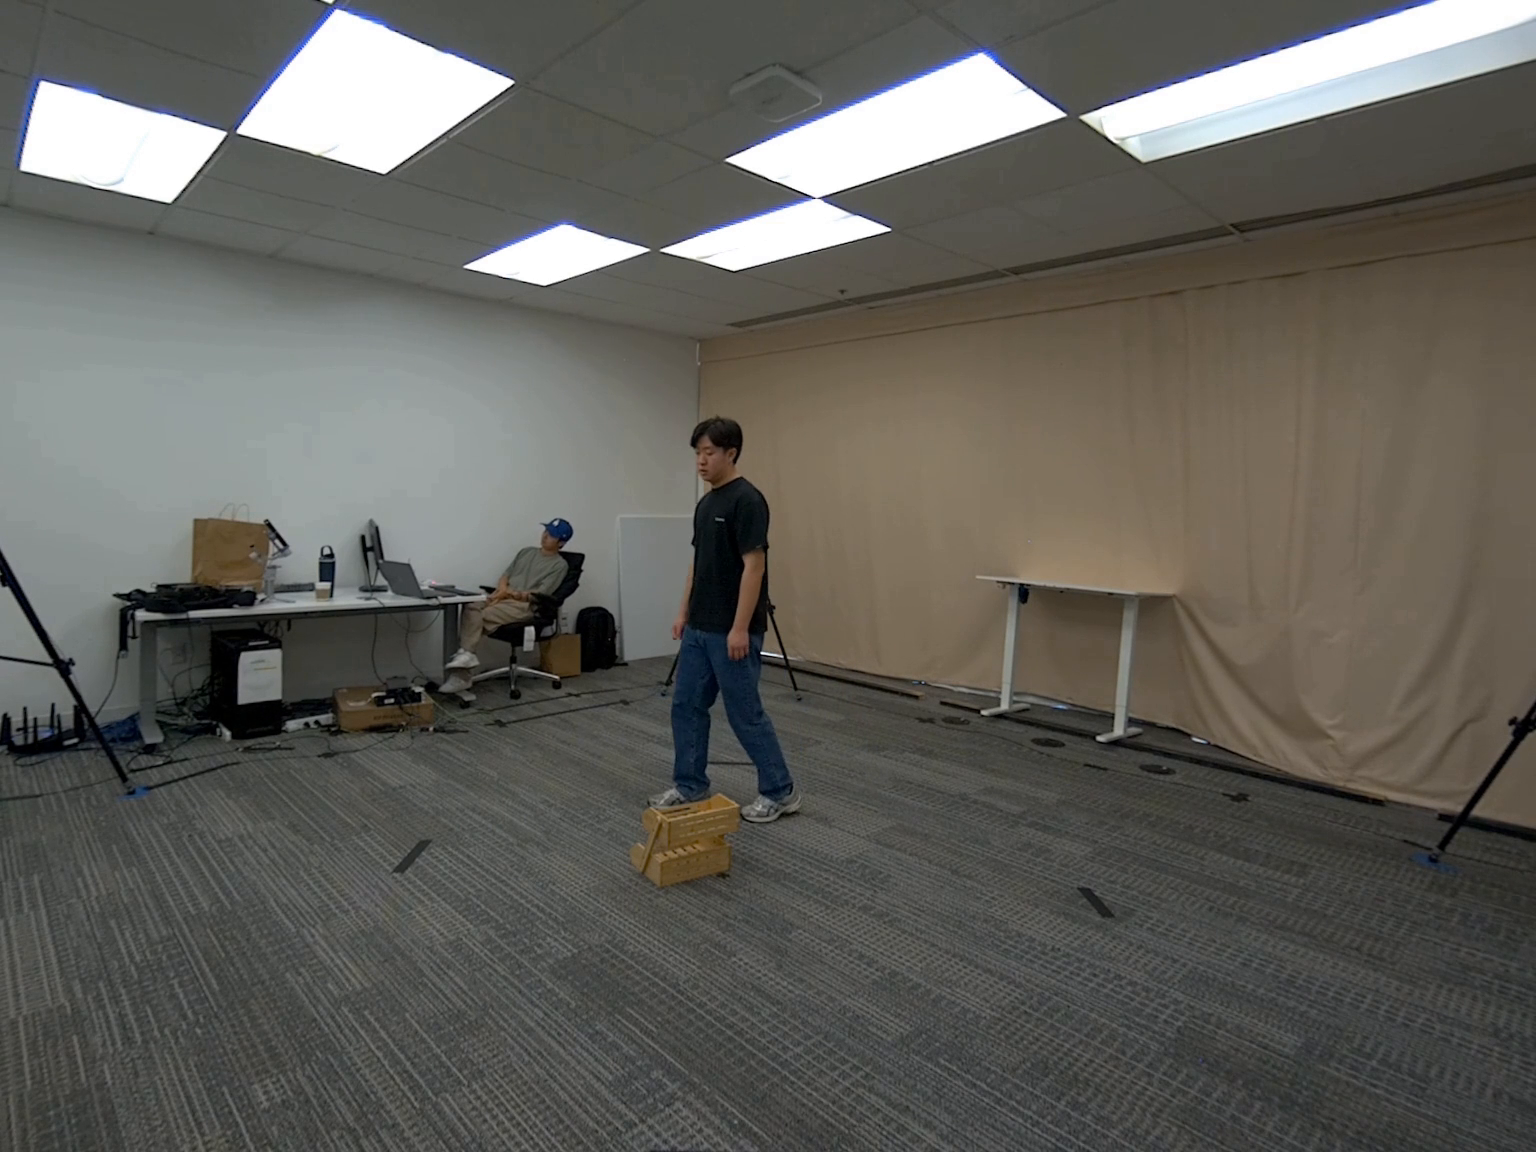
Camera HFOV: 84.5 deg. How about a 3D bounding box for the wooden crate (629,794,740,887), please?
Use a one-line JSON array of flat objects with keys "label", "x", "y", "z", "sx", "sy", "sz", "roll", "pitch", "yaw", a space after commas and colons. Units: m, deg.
[{"label": "wooden crate", "x": -0.324, "y": 0.968, "z": 3.155, "sx": 0.317, "sy": 0.272, "sz": 0.309, "roll": -1, "pitch": 6, "yaw": -34}]
